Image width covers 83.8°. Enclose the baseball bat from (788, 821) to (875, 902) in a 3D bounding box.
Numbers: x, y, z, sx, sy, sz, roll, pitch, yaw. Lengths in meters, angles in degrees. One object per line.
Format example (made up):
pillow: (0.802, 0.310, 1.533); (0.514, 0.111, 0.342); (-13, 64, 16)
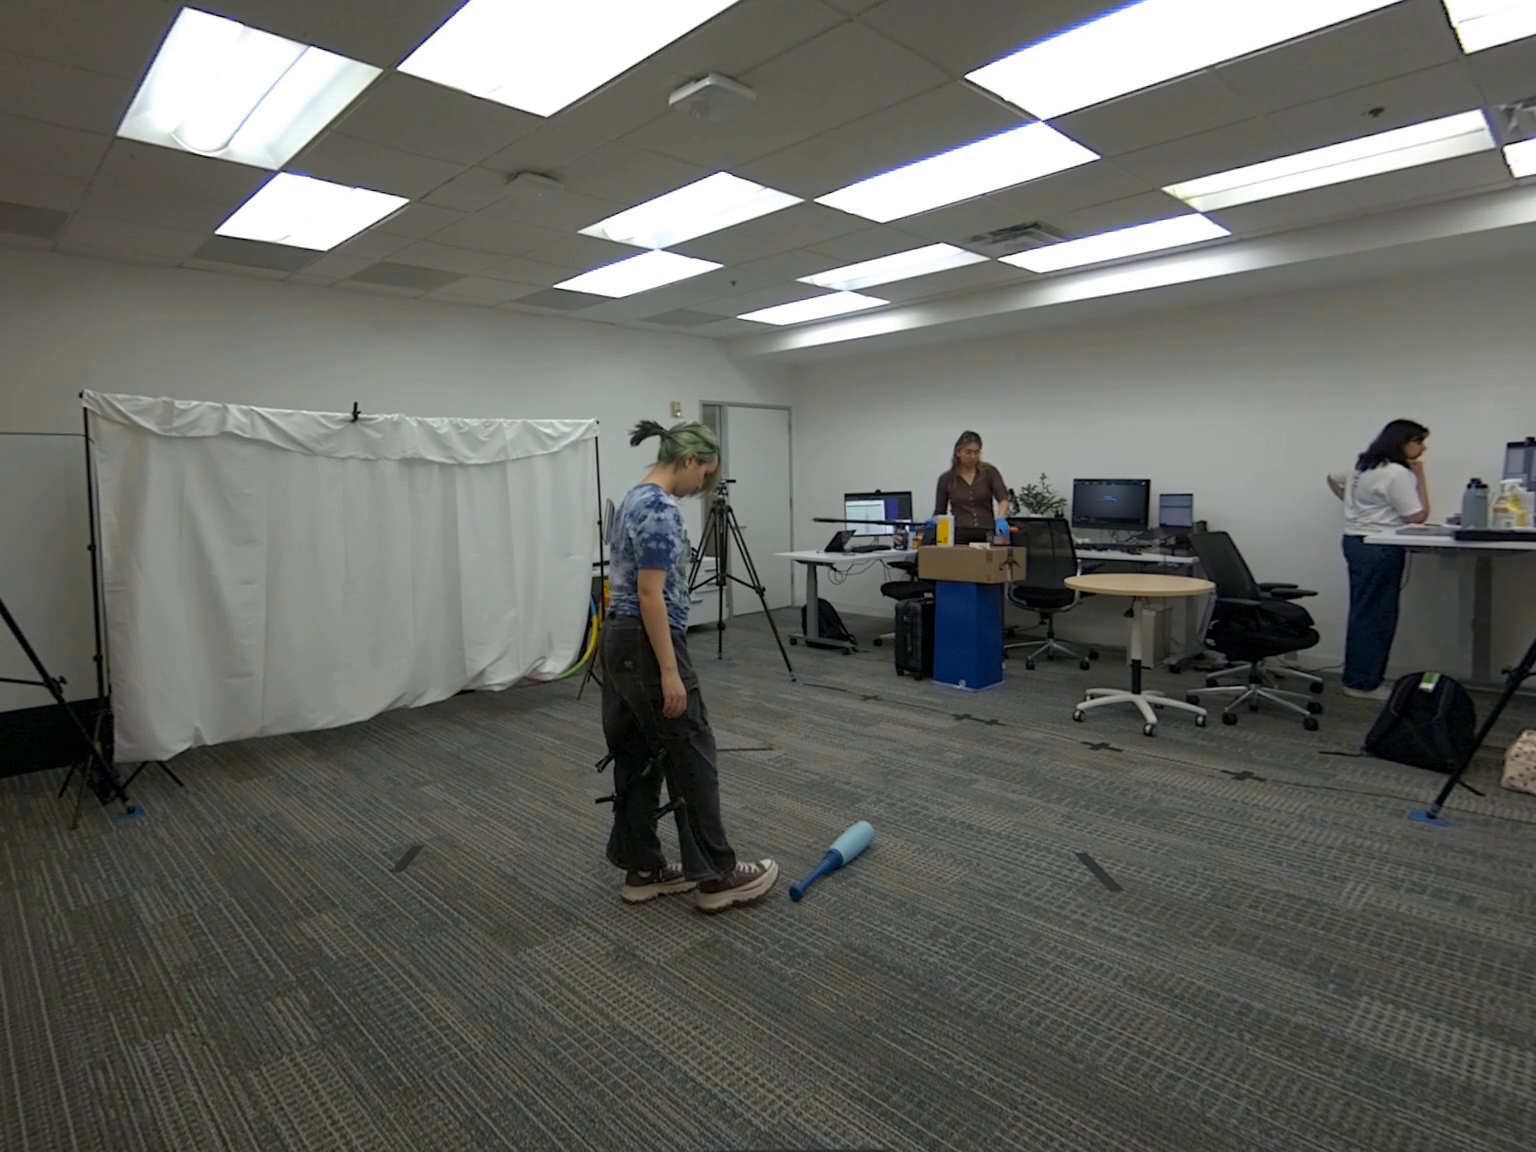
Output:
baseball bat: (0.236, 1.016, 3.036); (0.091, 0.088, 0.532); (2, 10, 32)
